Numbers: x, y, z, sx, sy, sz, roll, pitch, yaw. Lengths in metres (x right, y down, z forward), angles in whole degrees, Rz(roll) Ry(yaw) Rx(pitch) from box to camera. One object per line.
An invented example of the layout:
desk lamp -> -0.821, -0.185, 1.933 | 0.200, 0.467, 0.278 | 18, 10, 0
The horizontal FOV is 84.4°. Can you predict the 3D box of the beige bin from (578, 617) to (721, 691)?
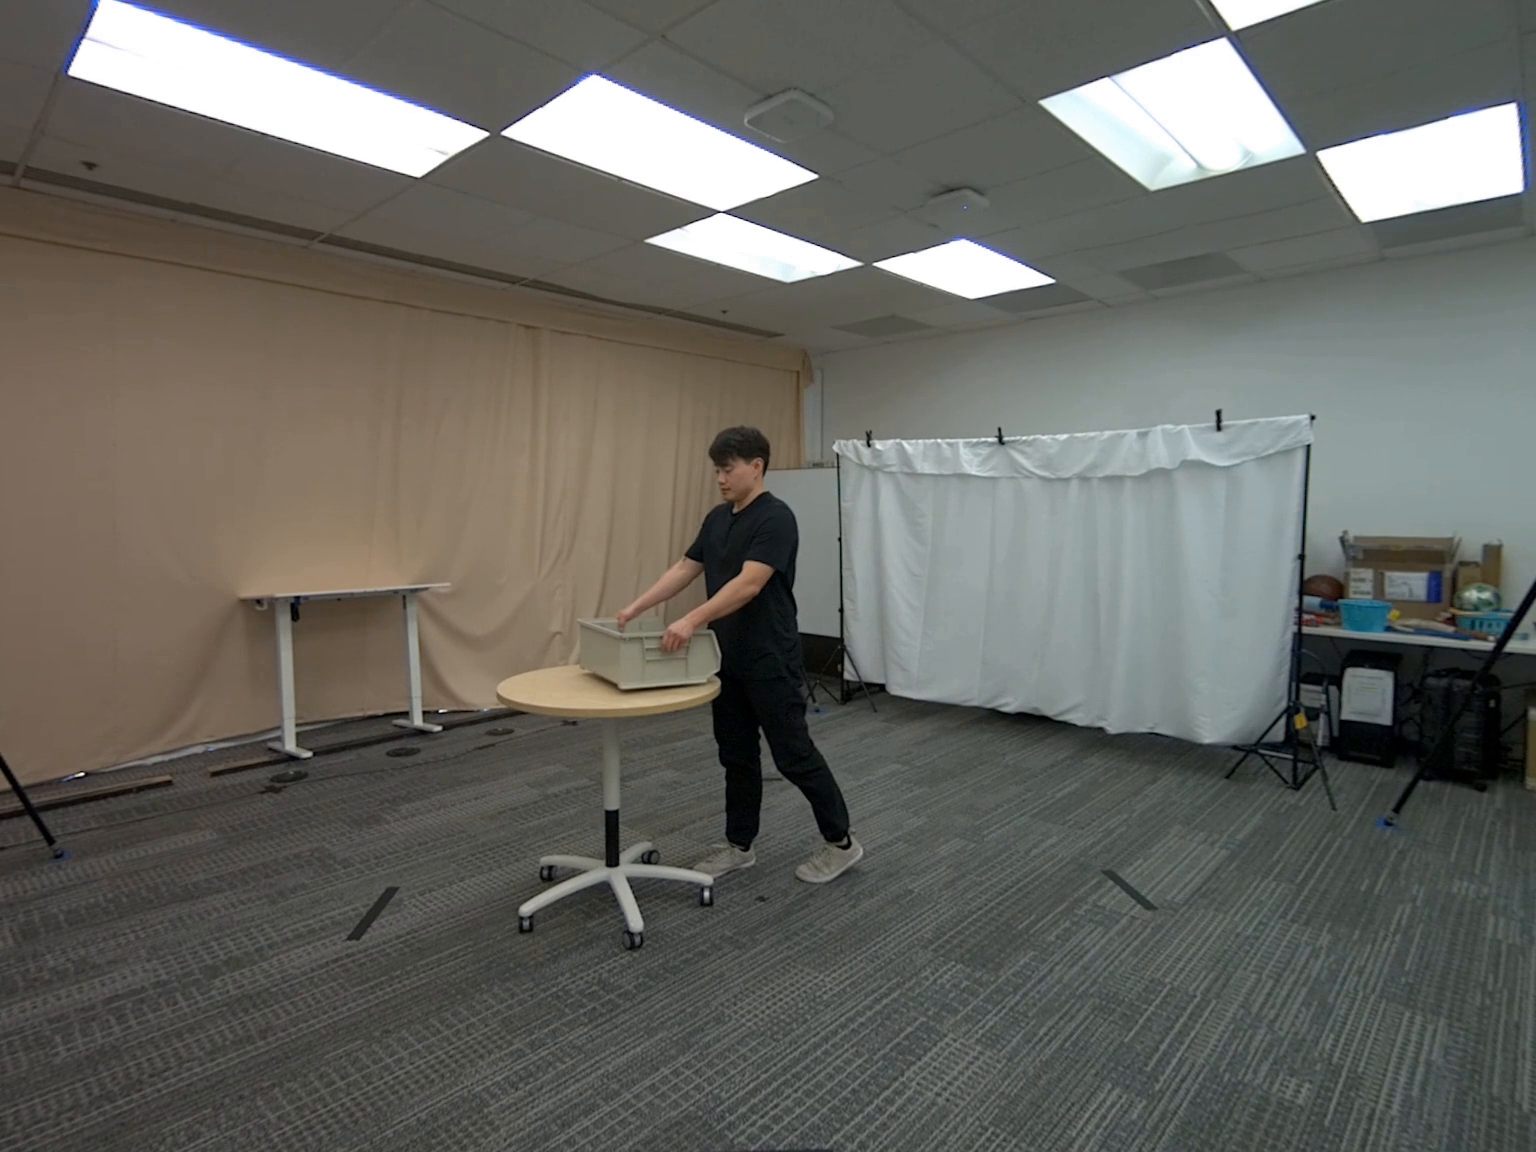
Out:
beige bin -> -0.424, 0.257, 2.975 | 0.367, 0.188, 0.435 | -3, 6, -31
